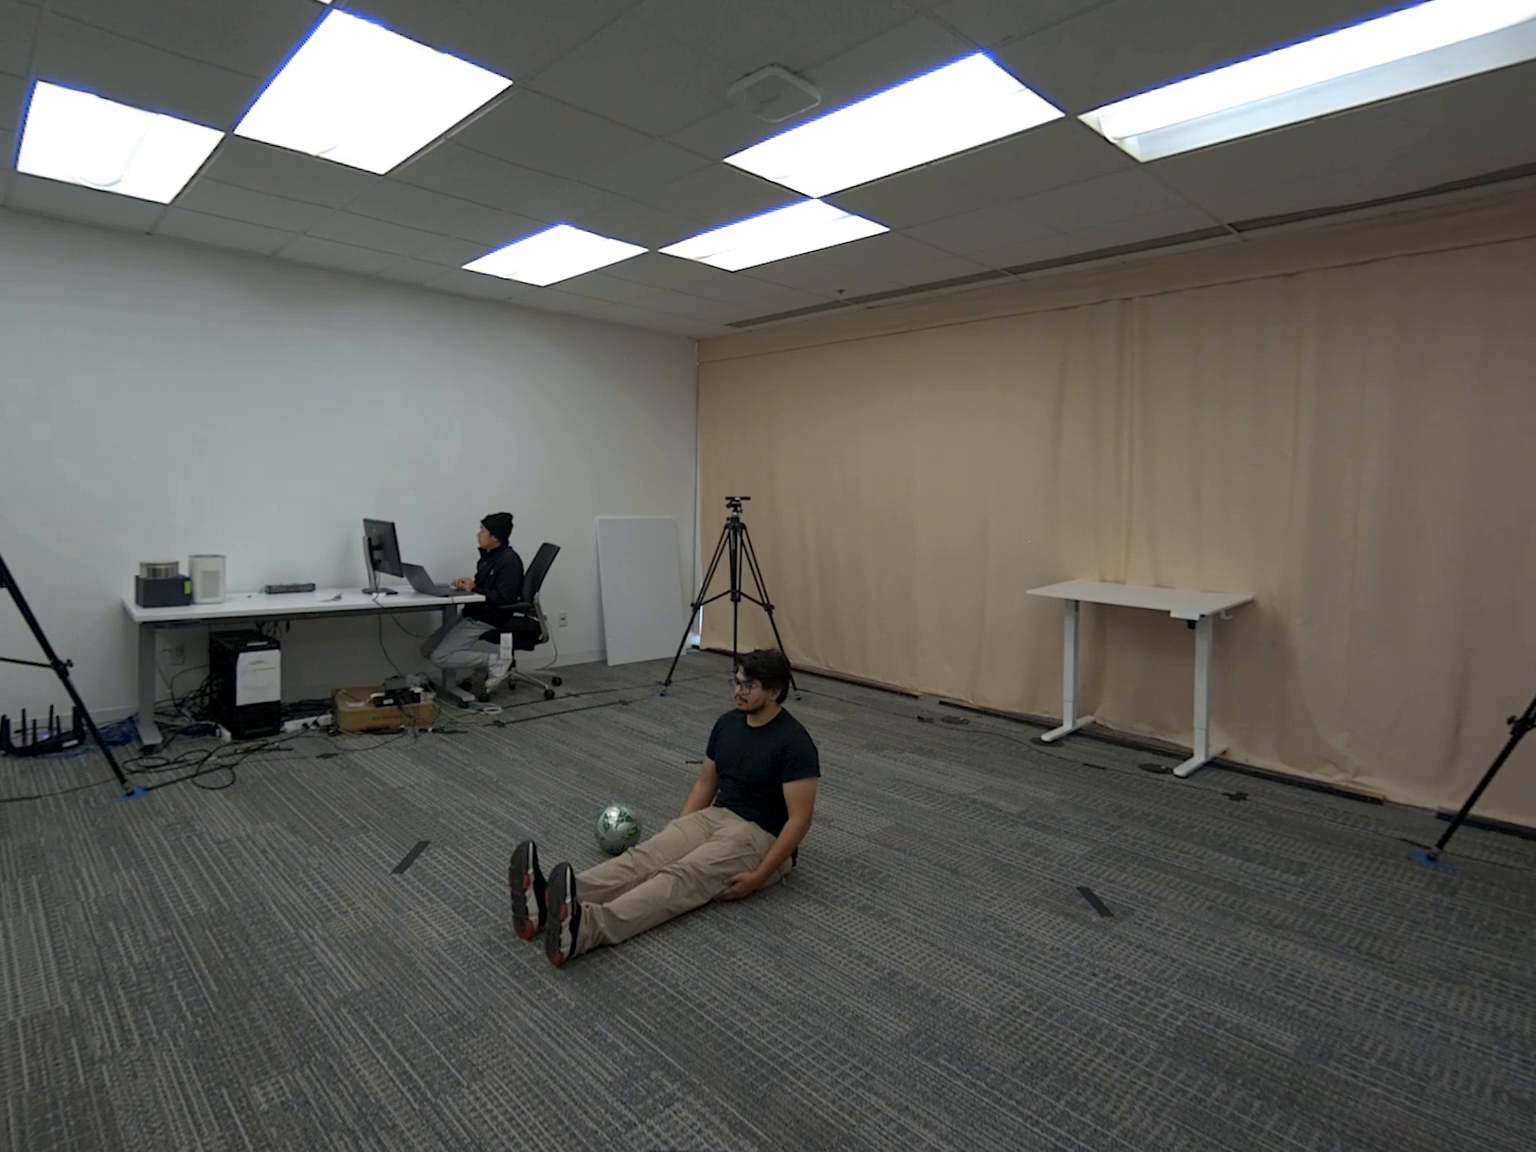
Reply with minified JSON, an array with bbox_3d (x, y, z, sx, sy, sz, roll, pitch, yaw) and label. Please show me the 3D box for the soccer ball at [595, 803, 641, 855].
[{"bbox_3d":[-0.585,0.979,3.286,0.187,0.187,0.188,1,5,-1],"label":"soccer ball"}]
